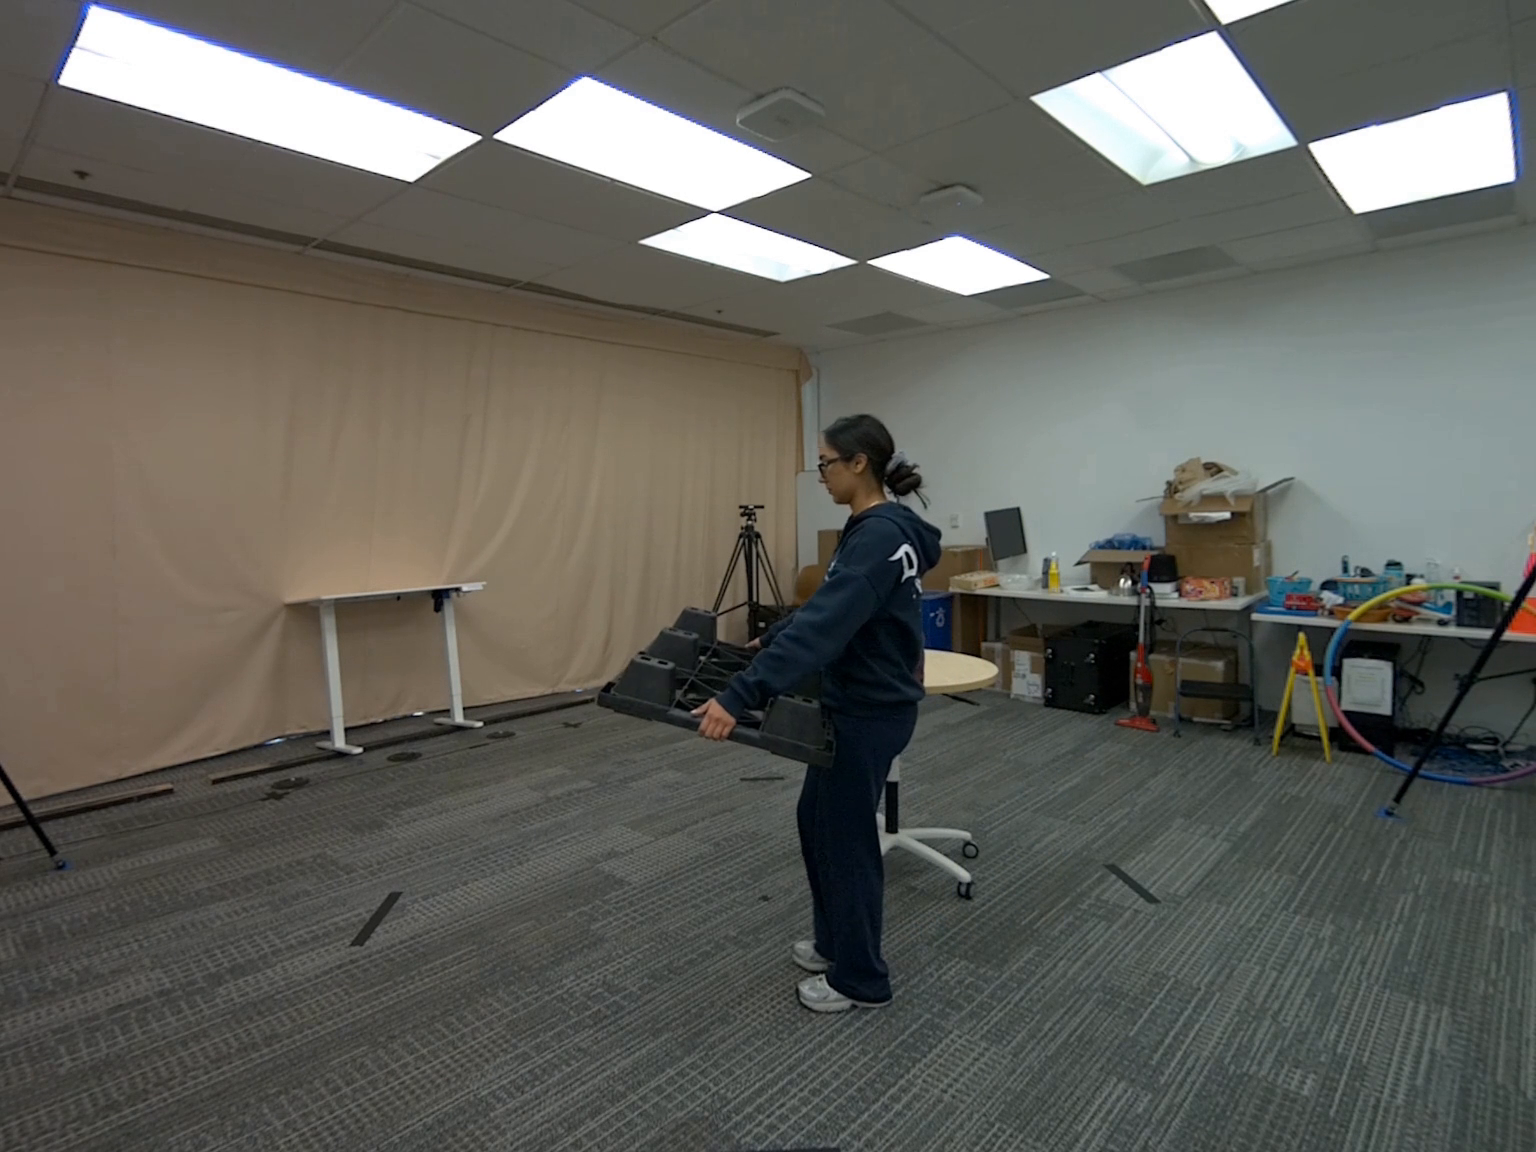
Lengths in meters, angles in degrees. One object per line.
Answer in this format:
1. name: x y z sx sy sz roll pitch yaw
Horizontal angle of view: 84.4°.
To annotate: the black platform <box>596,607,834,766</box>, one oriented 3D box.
1. black platform: -0.095 0.275 2.430 0.610 0.143 0.802 14 9 5
